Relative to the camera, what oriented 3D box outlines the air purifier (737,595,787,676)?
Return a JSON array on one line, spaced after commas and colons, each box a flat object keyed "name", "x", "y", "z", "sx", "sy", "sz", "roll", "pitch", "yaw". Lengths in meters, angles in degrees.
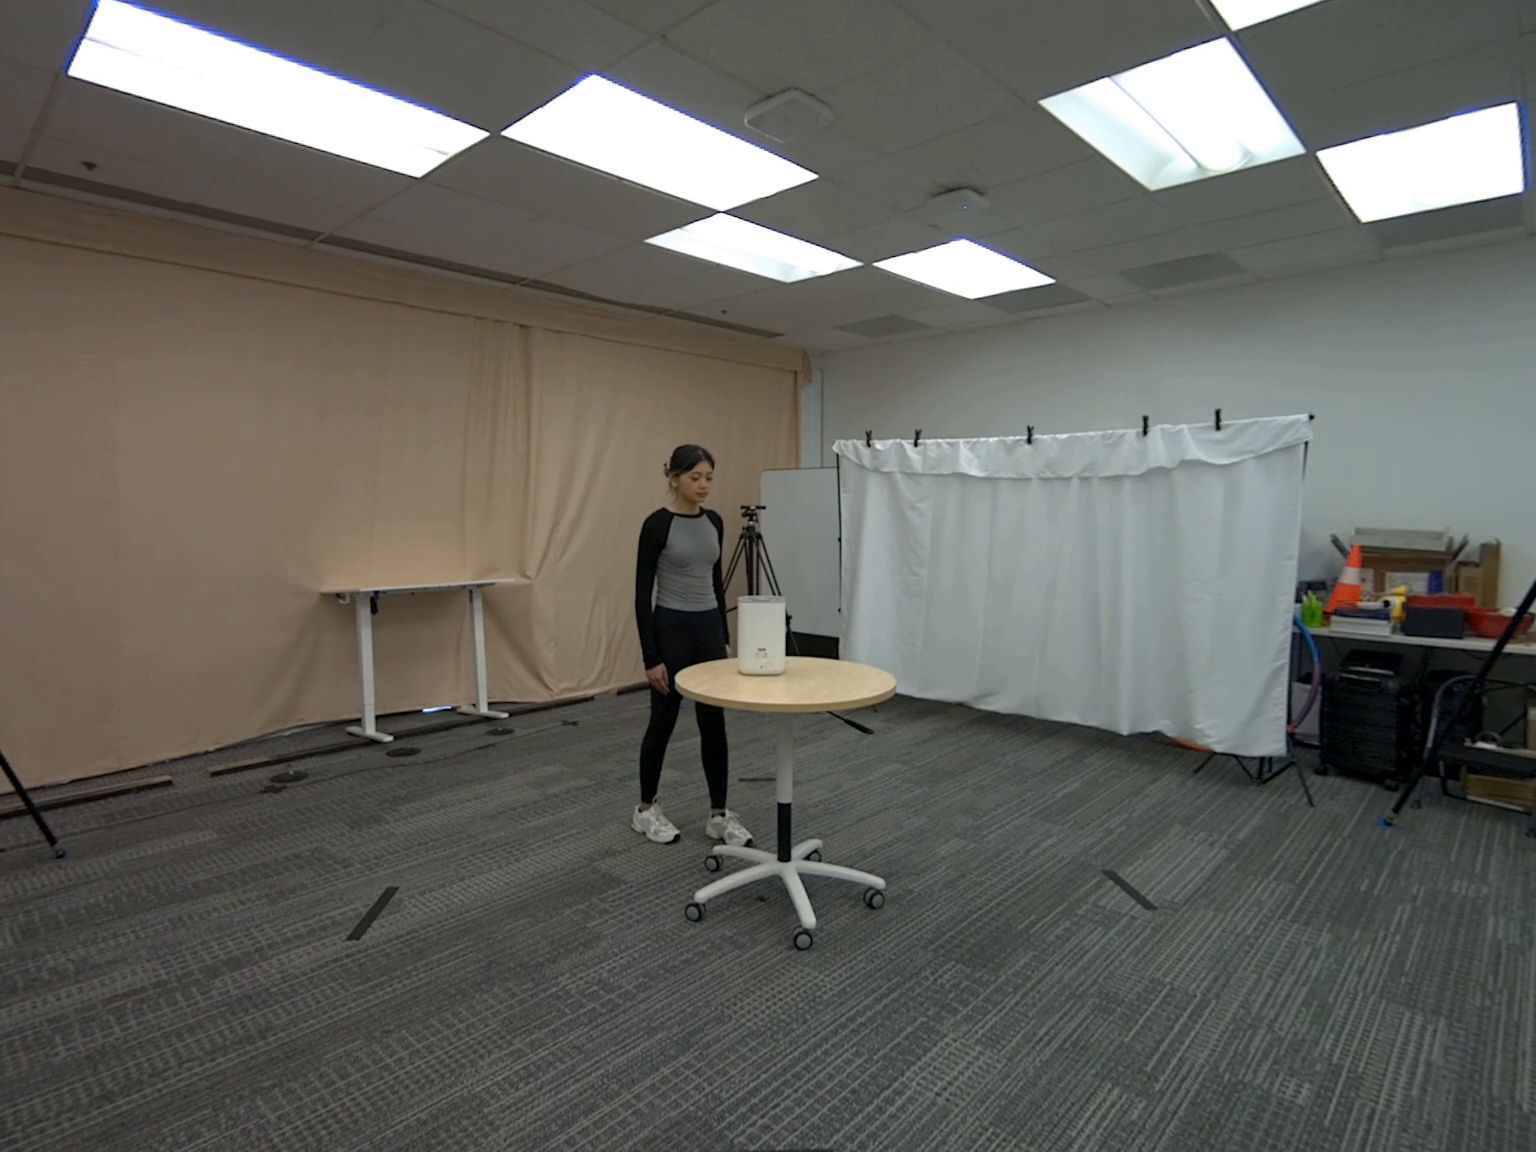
[{"name": "air purifier", "x": -0.020, "y": 0.212, "z": 3.018, "sx": 0.171, "sy": 0.265, "sz": 0.172, "roll": 0, "pitch": 3, "yaw": -1}]
